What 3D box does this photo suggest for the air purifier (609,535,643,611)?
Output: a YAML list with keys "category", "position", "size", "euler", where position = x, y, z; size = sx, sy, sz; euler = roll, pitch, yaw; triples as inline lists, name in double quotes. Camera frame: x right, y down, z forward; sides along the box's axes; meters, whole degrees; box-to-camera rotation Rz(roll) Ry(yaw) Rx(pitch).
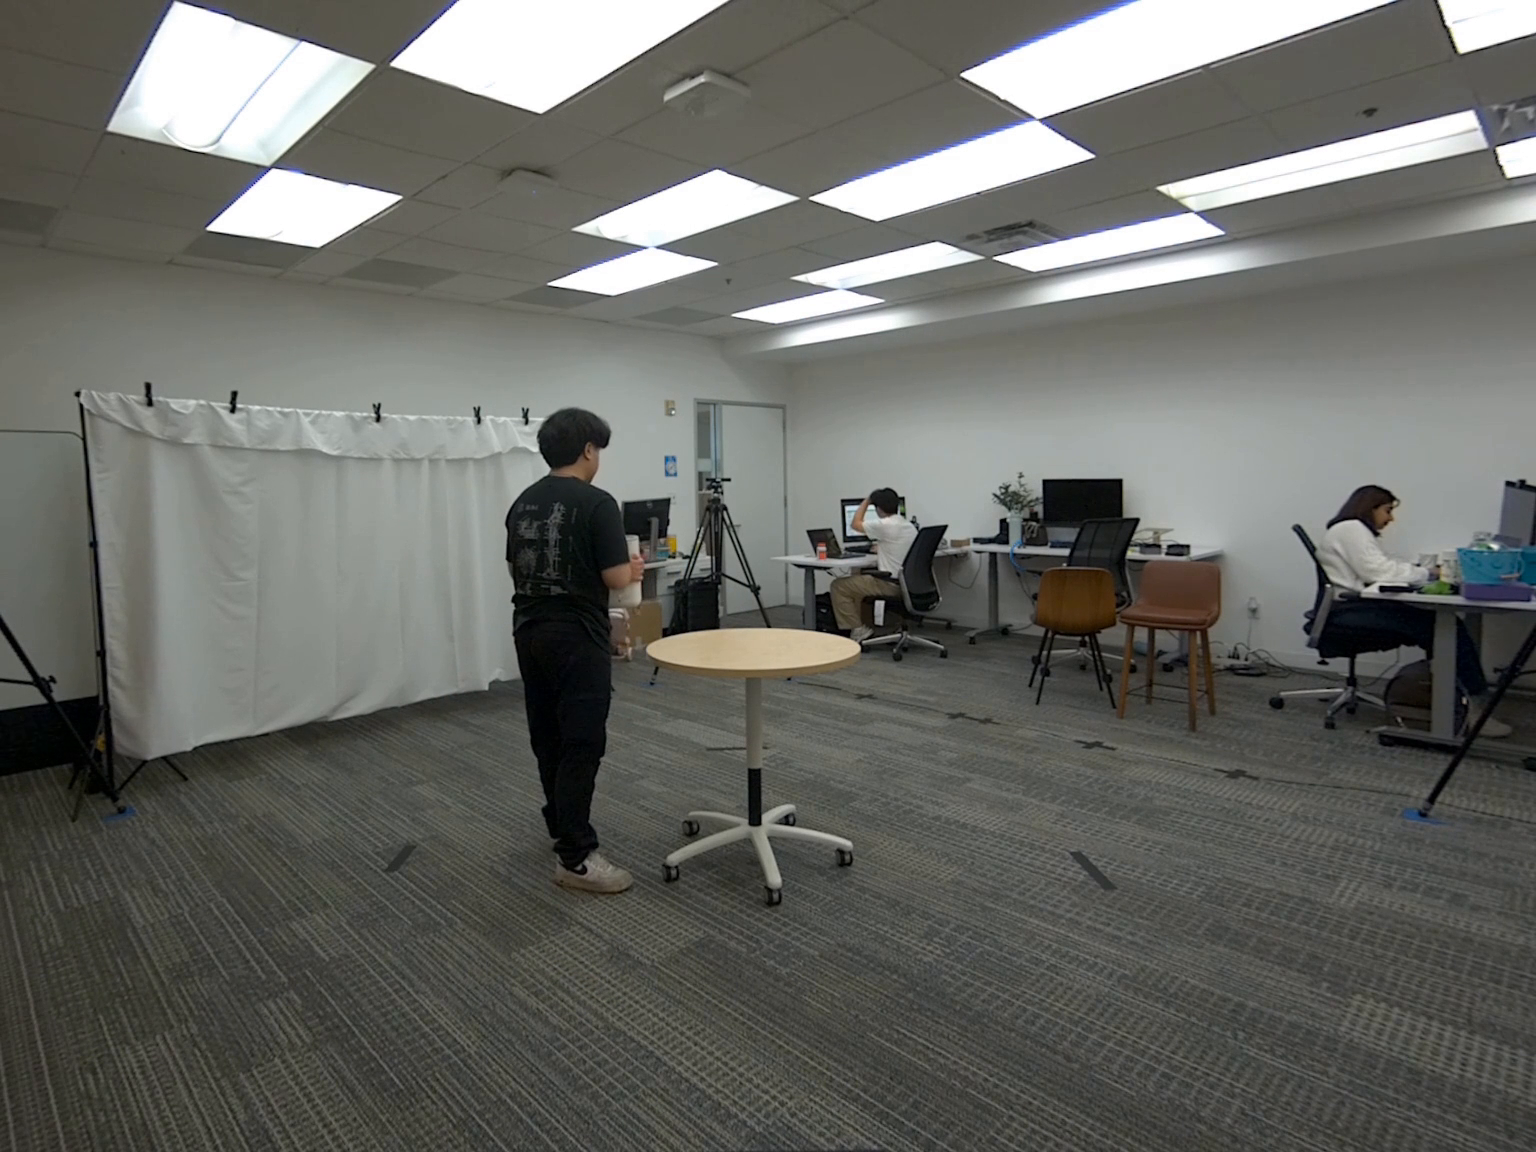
- category: "air purifier"
  position: [-0.582, -0.015, 3.295]
  size: [0.170, 0.264, 0.173]
  euler: [-4, 5, -4]
